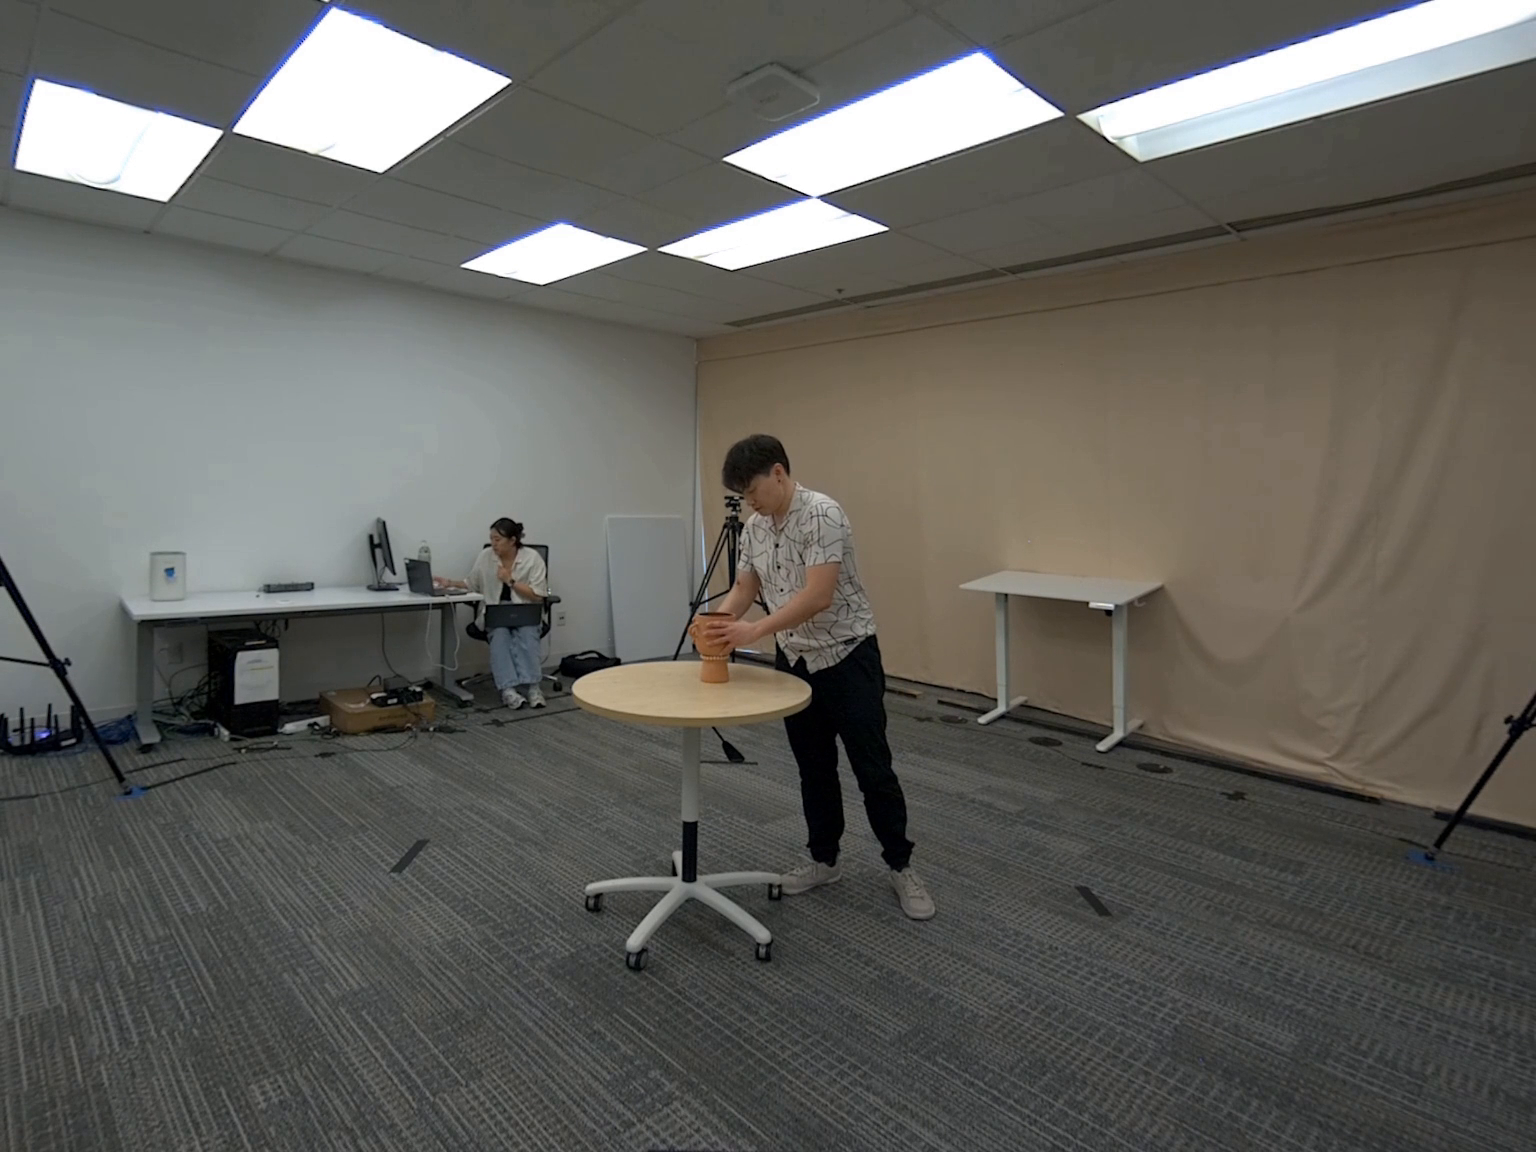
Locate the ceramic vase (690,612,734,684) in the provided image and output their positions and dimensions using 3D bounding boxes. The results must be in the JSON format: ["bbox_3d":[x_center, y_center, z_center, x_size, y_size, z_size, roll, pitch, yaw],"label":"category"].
[{"bbox_3d":[-0.184,0.239,2.782,0.160,0.219,0.134,1,3,8],"label":"ceramic vase"}]
